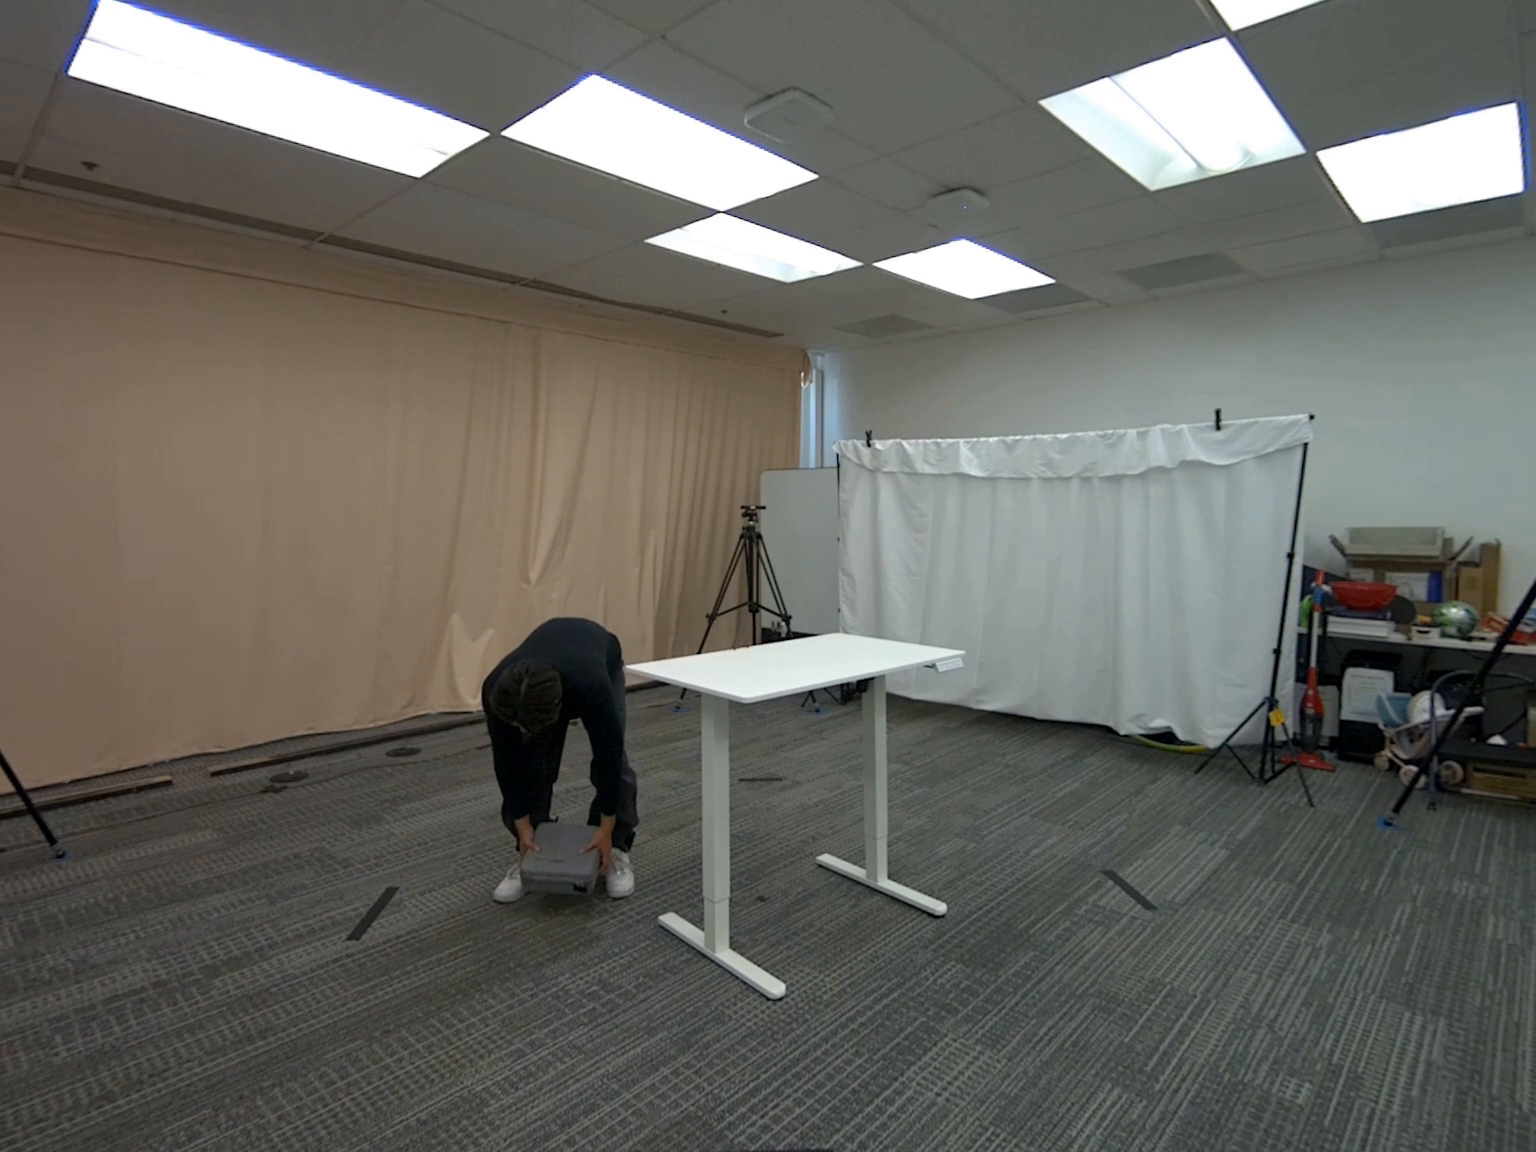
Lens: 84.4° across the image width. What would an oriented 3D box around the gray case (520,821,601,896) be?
[{"bbox_3d":[-0.720,0.975,2.929,0.258,0.103,0.263,1,22,3],"label":"gray case"}]
